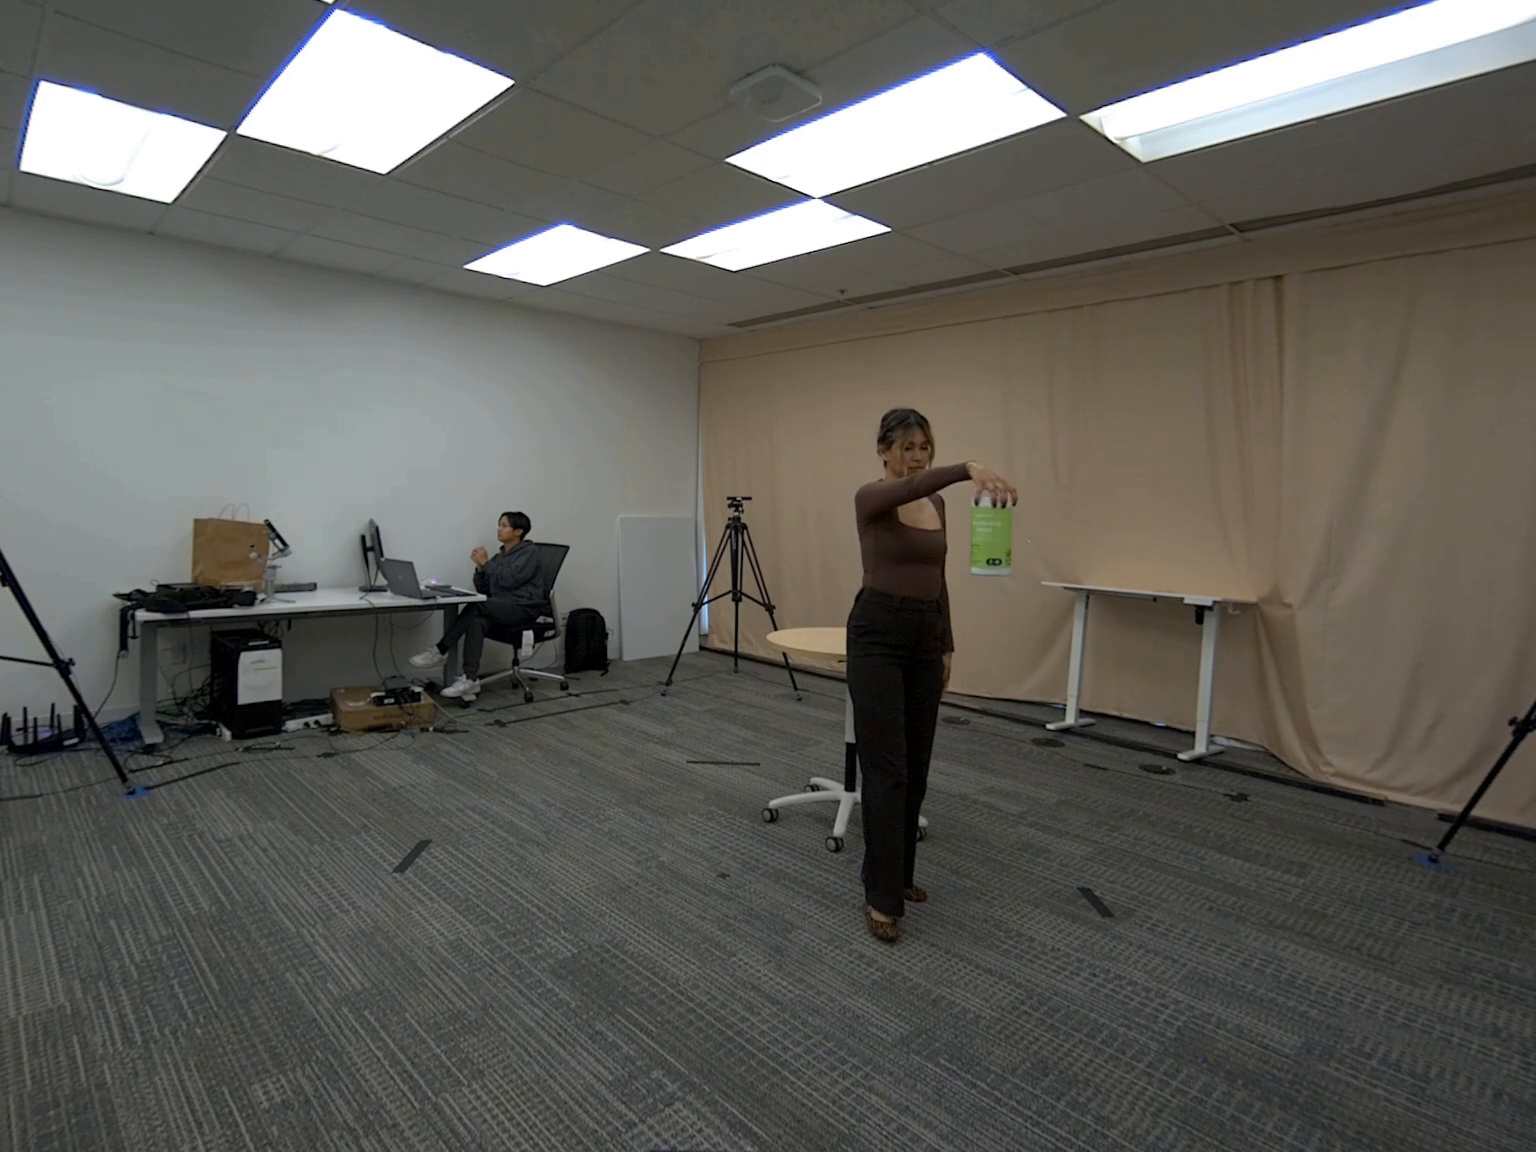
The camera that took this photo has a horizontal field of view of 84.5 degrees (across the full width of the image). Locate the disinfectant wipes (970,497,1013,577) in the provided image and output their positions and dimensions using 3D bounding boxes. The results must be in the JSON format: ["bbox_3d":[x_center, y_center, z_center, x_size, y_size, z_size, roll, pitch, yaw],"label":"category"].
[{"bbox_3d":[0.614,-0.110,2.311,0.118,0.216,0.118,-2,5,-1],"label":"disinfectant wipes"}]
